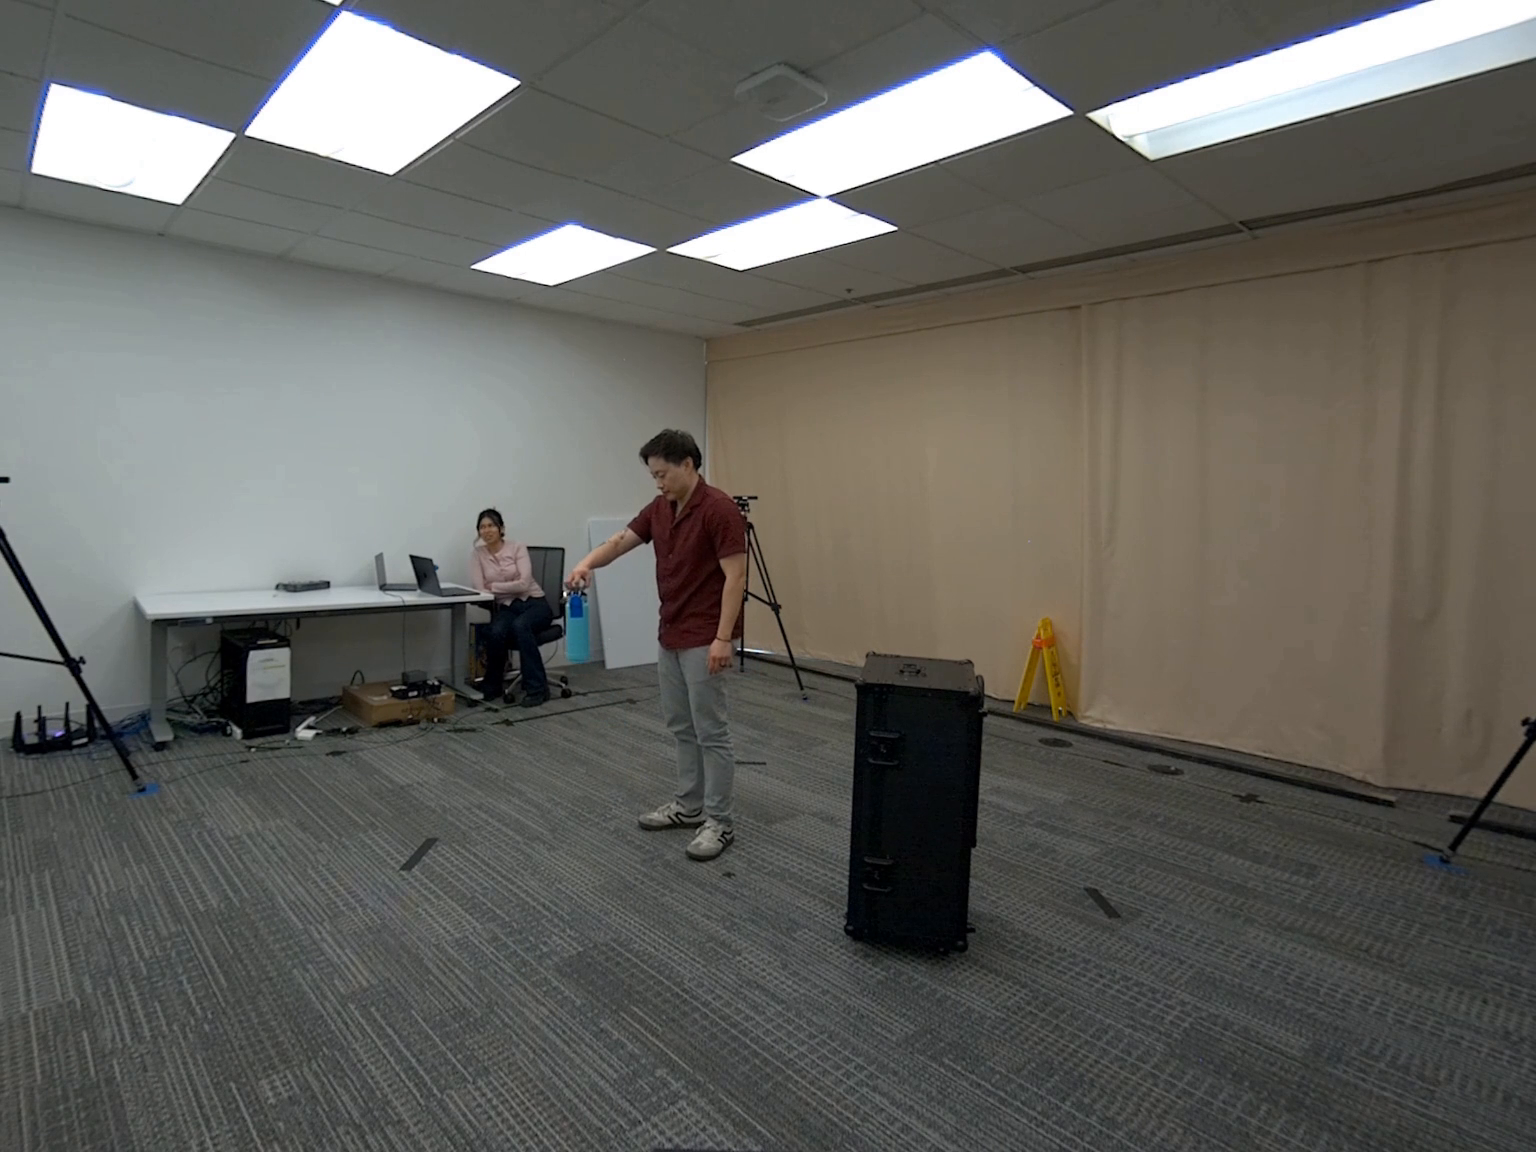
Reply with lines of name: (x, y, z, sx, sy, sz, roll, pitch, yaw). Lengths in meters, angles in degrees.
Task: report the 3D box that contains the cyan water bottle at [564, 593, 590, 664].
cyan water bottle: (-0.738, 0.187, 3.241, 0.092, 0.282, 0.093, 2, 7, -2)
